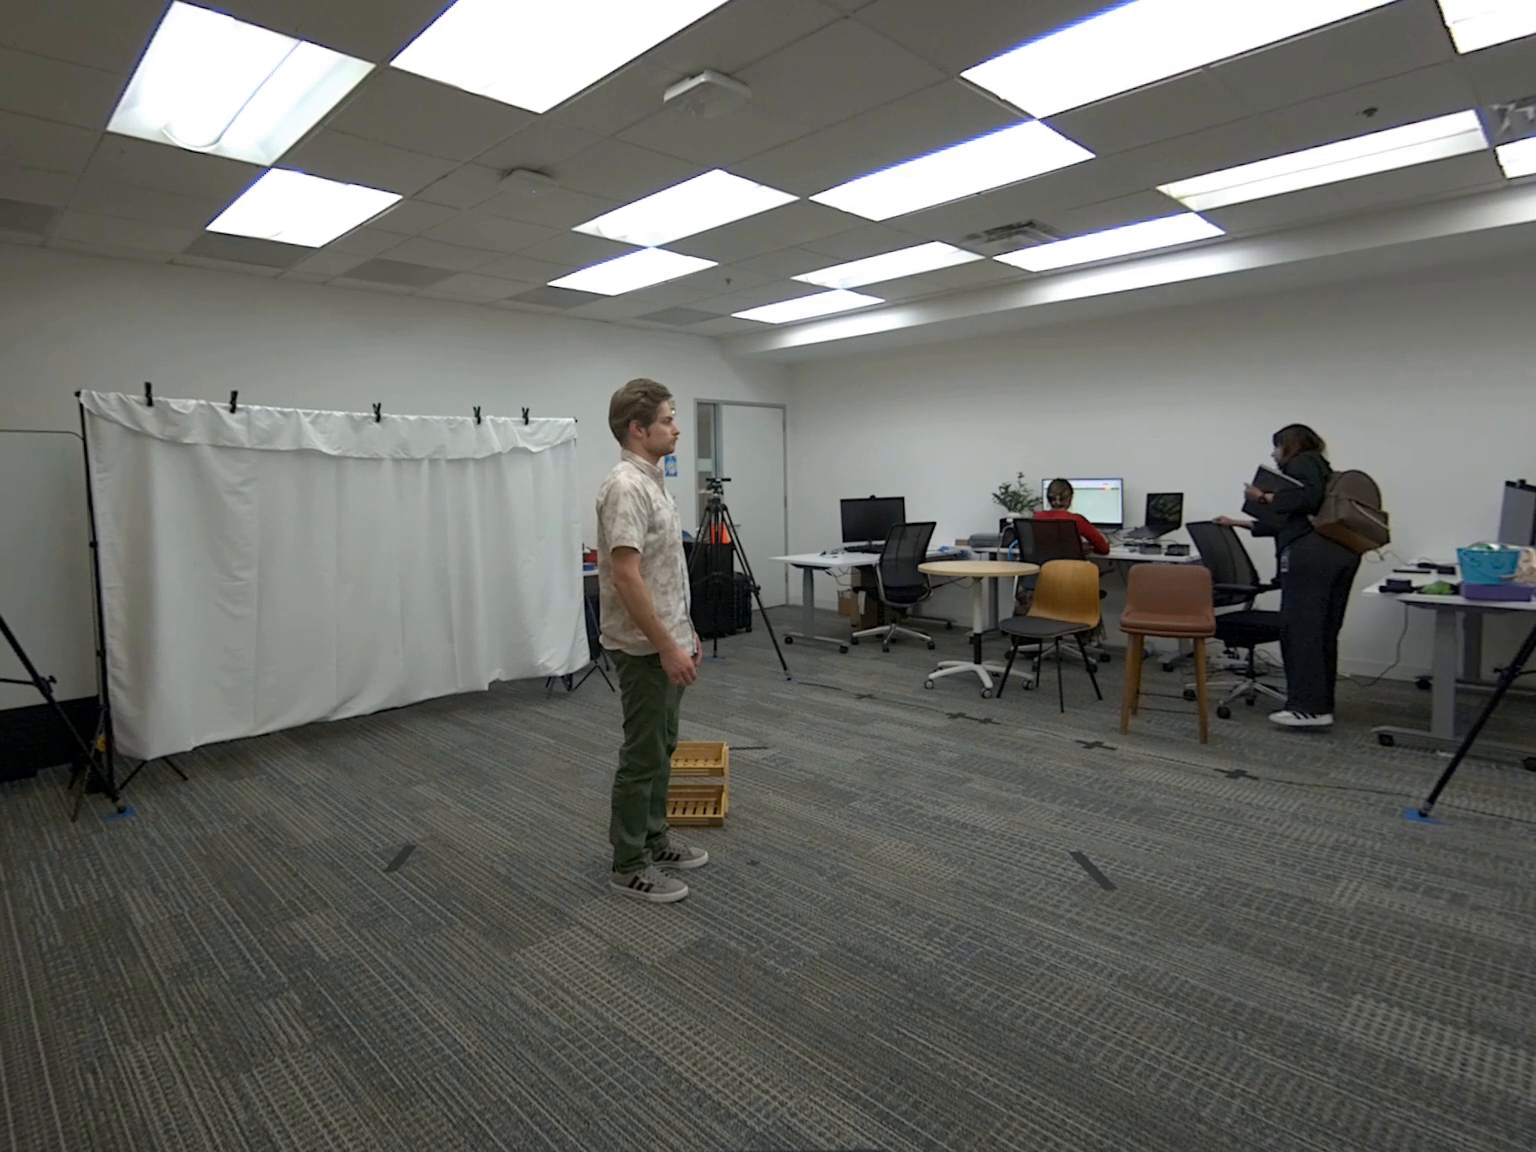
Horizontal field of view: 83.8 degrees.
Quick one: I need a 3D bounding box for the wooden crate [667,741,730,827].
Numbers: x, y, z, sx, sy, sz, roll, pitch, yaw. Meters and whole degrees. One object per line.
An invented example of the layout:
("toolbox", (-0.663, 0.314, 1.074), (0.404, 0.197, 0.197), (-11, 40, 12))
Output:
("wooden crate", (-0.327, 0.860, 3.564), (0.325, 0.272, 0.302), (-1, 5, 2))
